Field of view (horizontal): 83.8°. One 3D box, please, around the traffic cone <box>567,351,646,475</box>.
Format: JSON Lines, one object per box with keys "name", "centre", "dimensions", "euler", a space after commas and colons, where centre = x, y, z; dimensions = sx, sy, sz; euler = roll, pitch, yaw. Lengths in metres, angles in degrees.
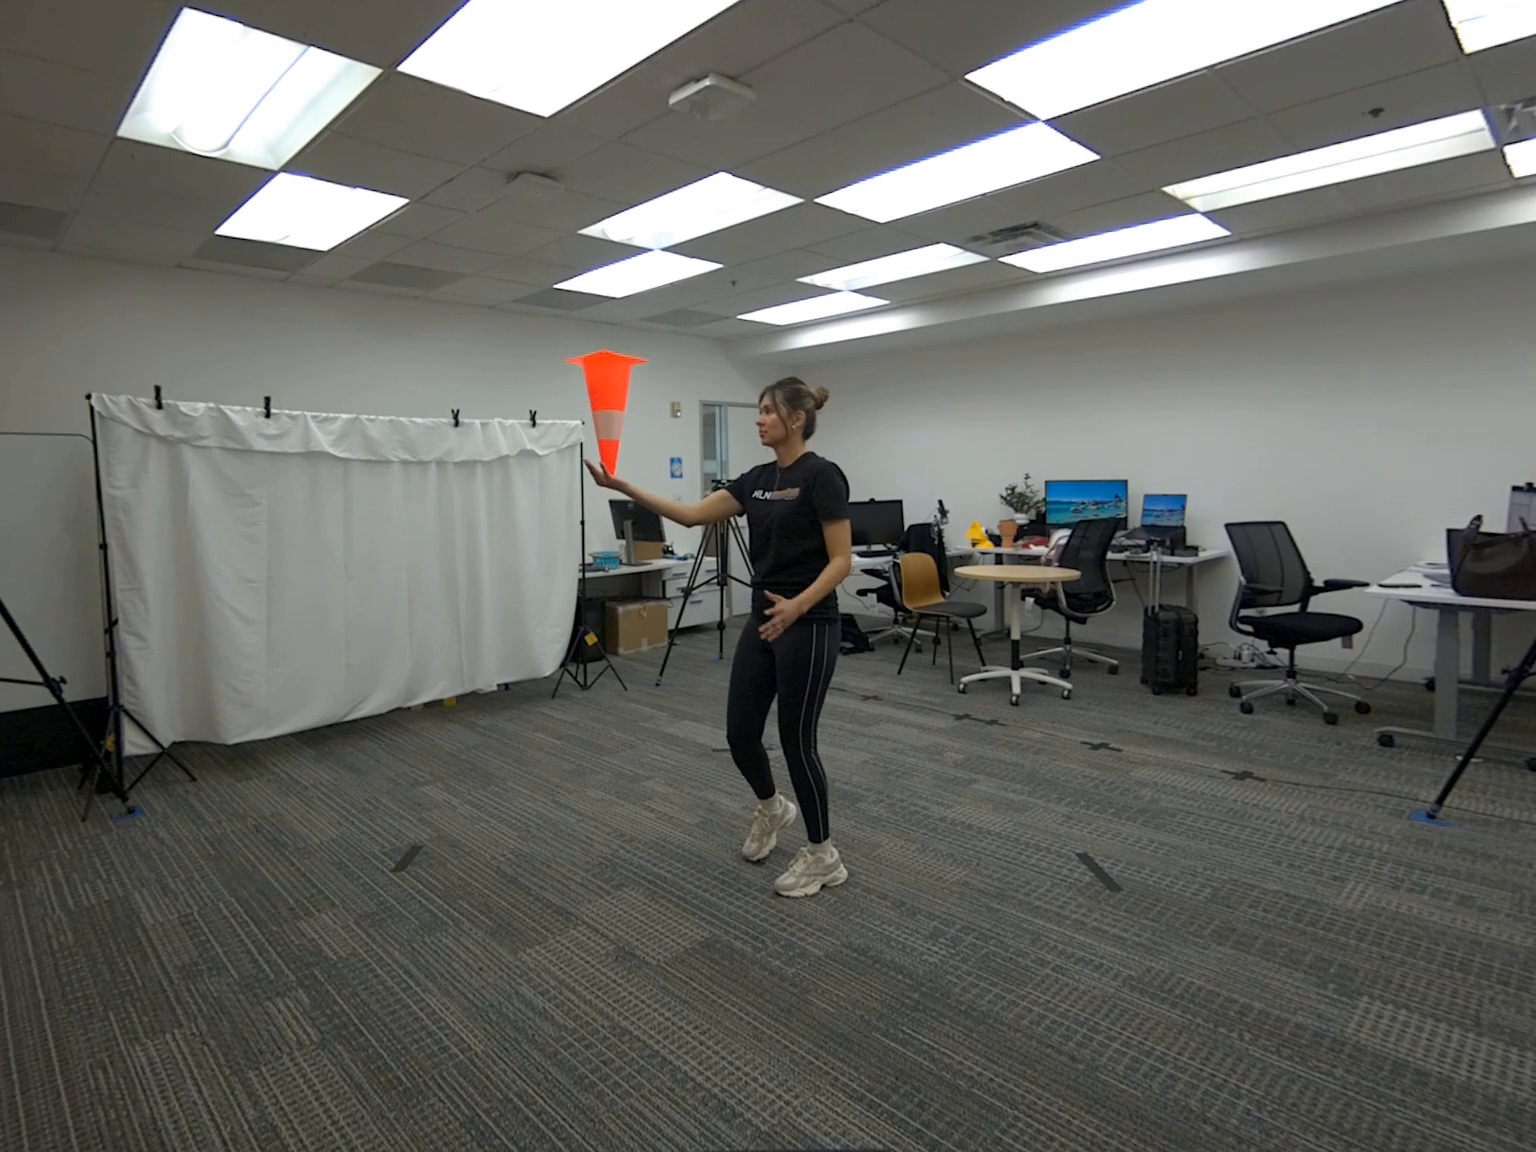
{"name": "traffic cone", "centre": [-0.516, -0.500, 2.734], "dimensions": [0.199, 0.384, 0.209], "euler": [-1, 0, -44]}
